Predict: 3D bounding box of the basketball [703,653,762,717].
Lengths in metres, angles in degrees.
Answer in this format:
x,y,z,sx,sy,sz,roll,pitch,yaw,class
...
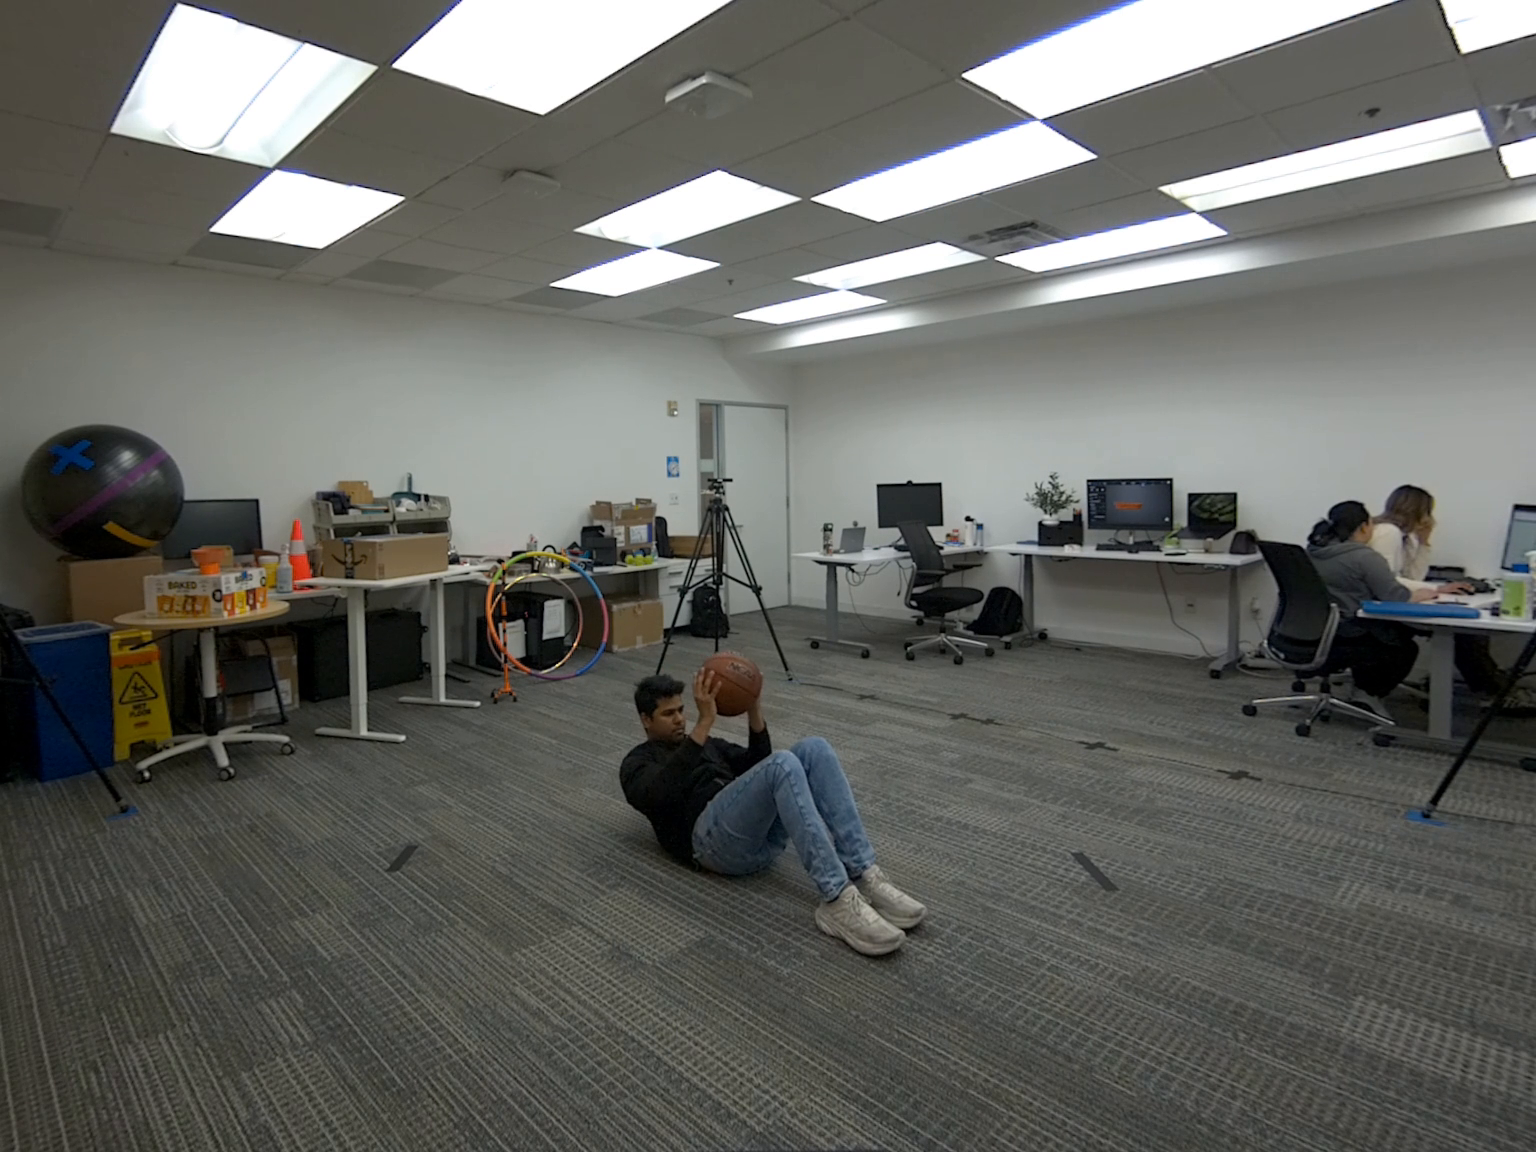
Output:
x,y,z,sx,sy,sz,roll,pitch,yaw,class
-0.148,0.394,3.141,0.236,0.235,0.237,-1,5,-2,basketball
